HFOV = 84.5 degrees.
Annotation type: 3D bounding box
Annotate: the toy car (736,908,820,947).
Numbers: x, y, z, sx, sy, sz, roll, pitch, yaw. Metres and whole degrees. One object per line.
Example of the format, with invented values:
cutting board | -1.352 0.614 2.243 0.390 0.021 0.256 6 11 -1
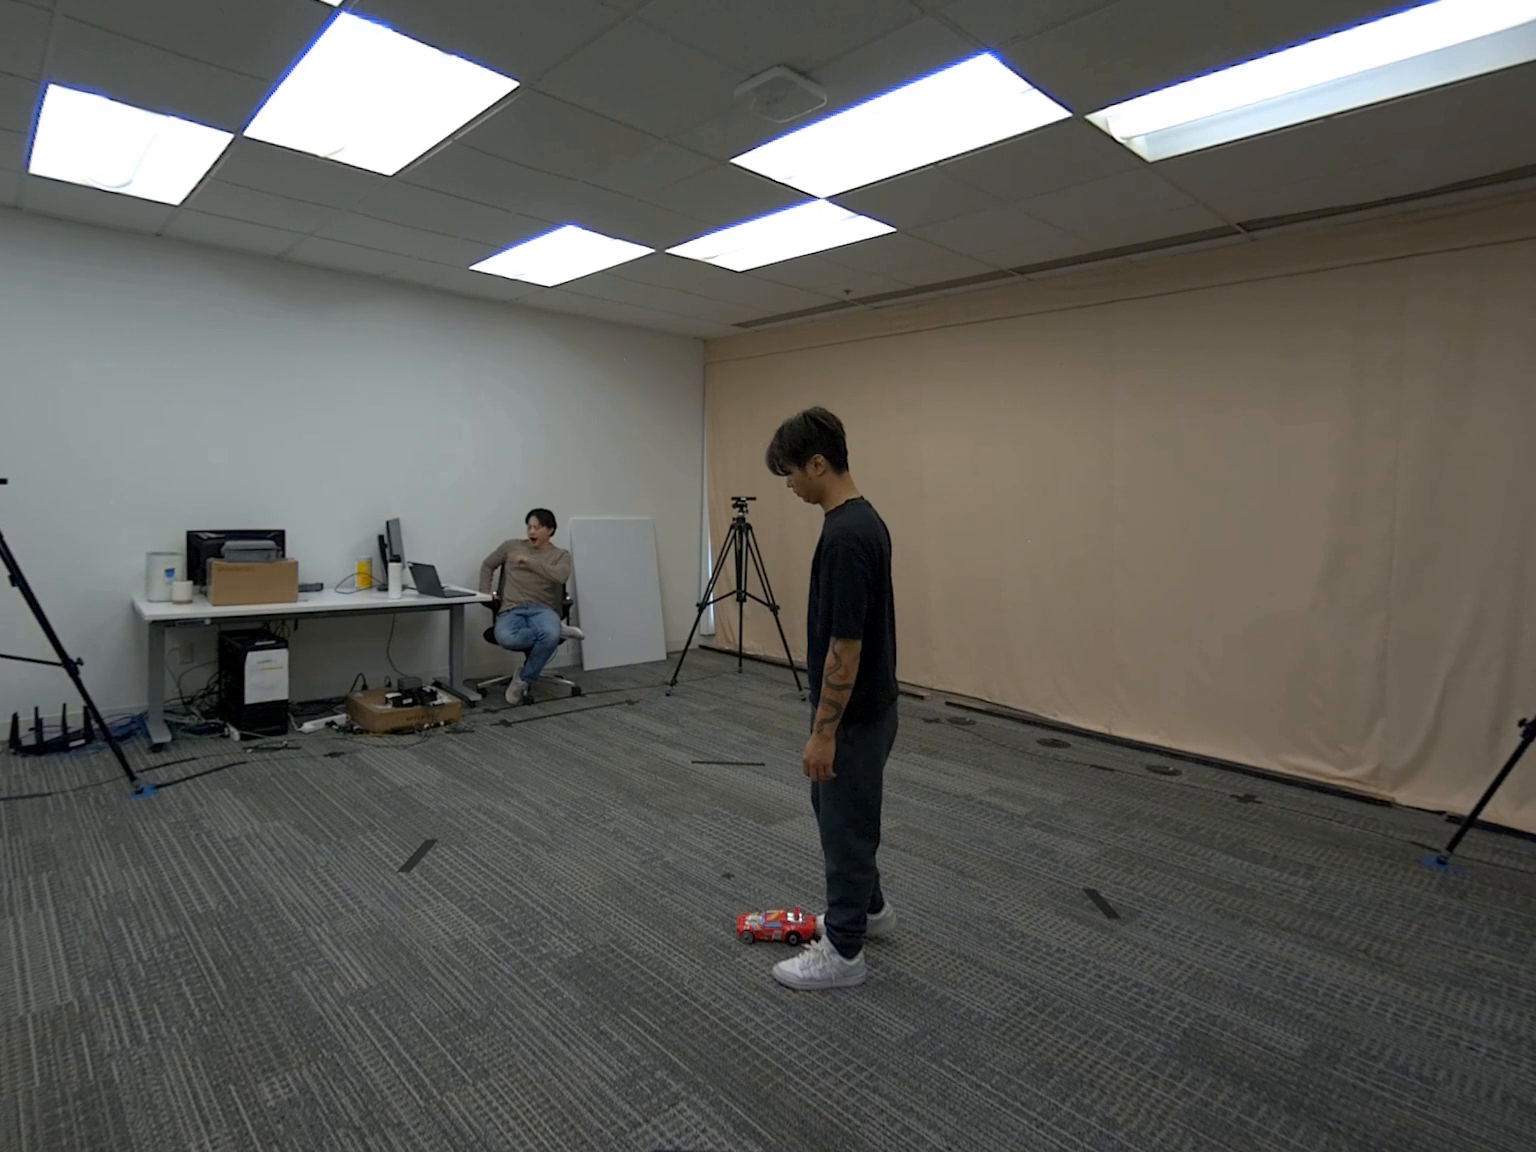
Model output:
toy car | 0.023 1.116 2.673 0.255 0.083 0.130 -10 3 5
